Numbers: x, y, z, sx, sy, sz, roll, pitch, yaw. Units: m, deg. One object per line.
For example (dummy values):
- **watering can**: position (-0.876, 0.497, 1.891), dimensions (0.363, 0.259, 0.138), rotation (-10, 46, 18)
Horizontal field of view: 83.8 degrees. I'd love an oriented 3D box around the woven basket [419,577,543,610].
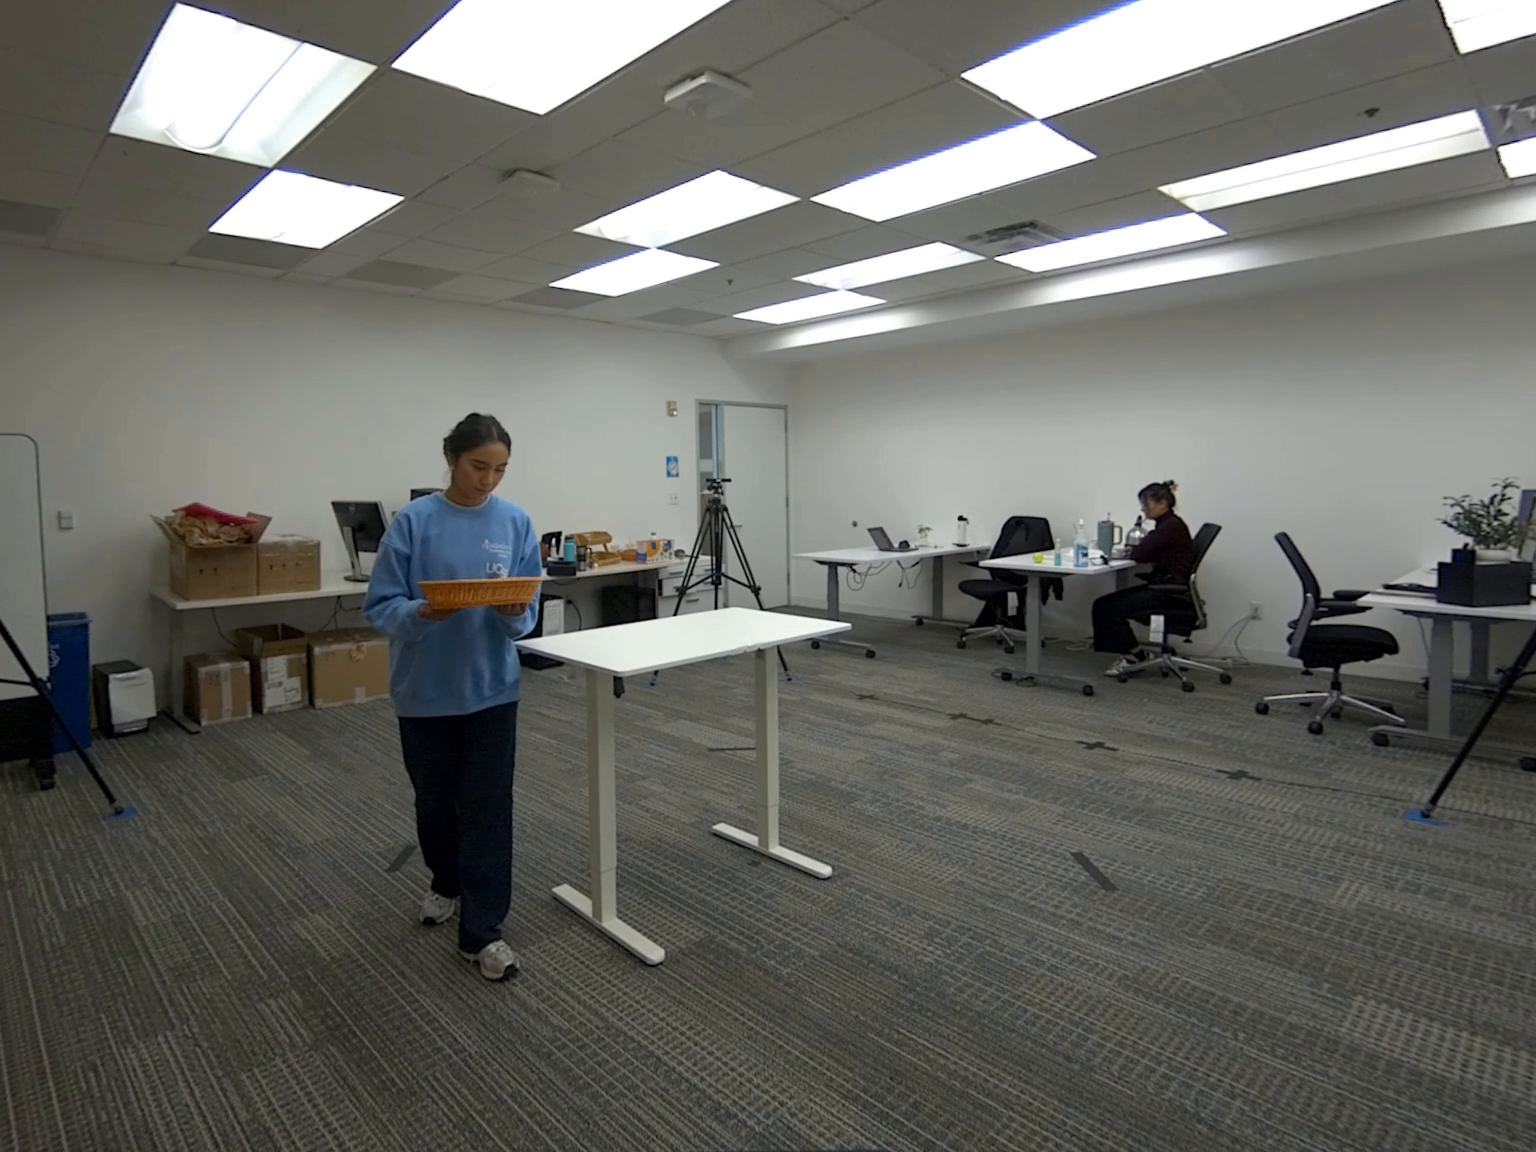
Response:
- **woven basket**: position (-0.823, 0.053, 2.327), dimensions (0.259, 0.073, 0.341), rotation (-2, 2, 36)
